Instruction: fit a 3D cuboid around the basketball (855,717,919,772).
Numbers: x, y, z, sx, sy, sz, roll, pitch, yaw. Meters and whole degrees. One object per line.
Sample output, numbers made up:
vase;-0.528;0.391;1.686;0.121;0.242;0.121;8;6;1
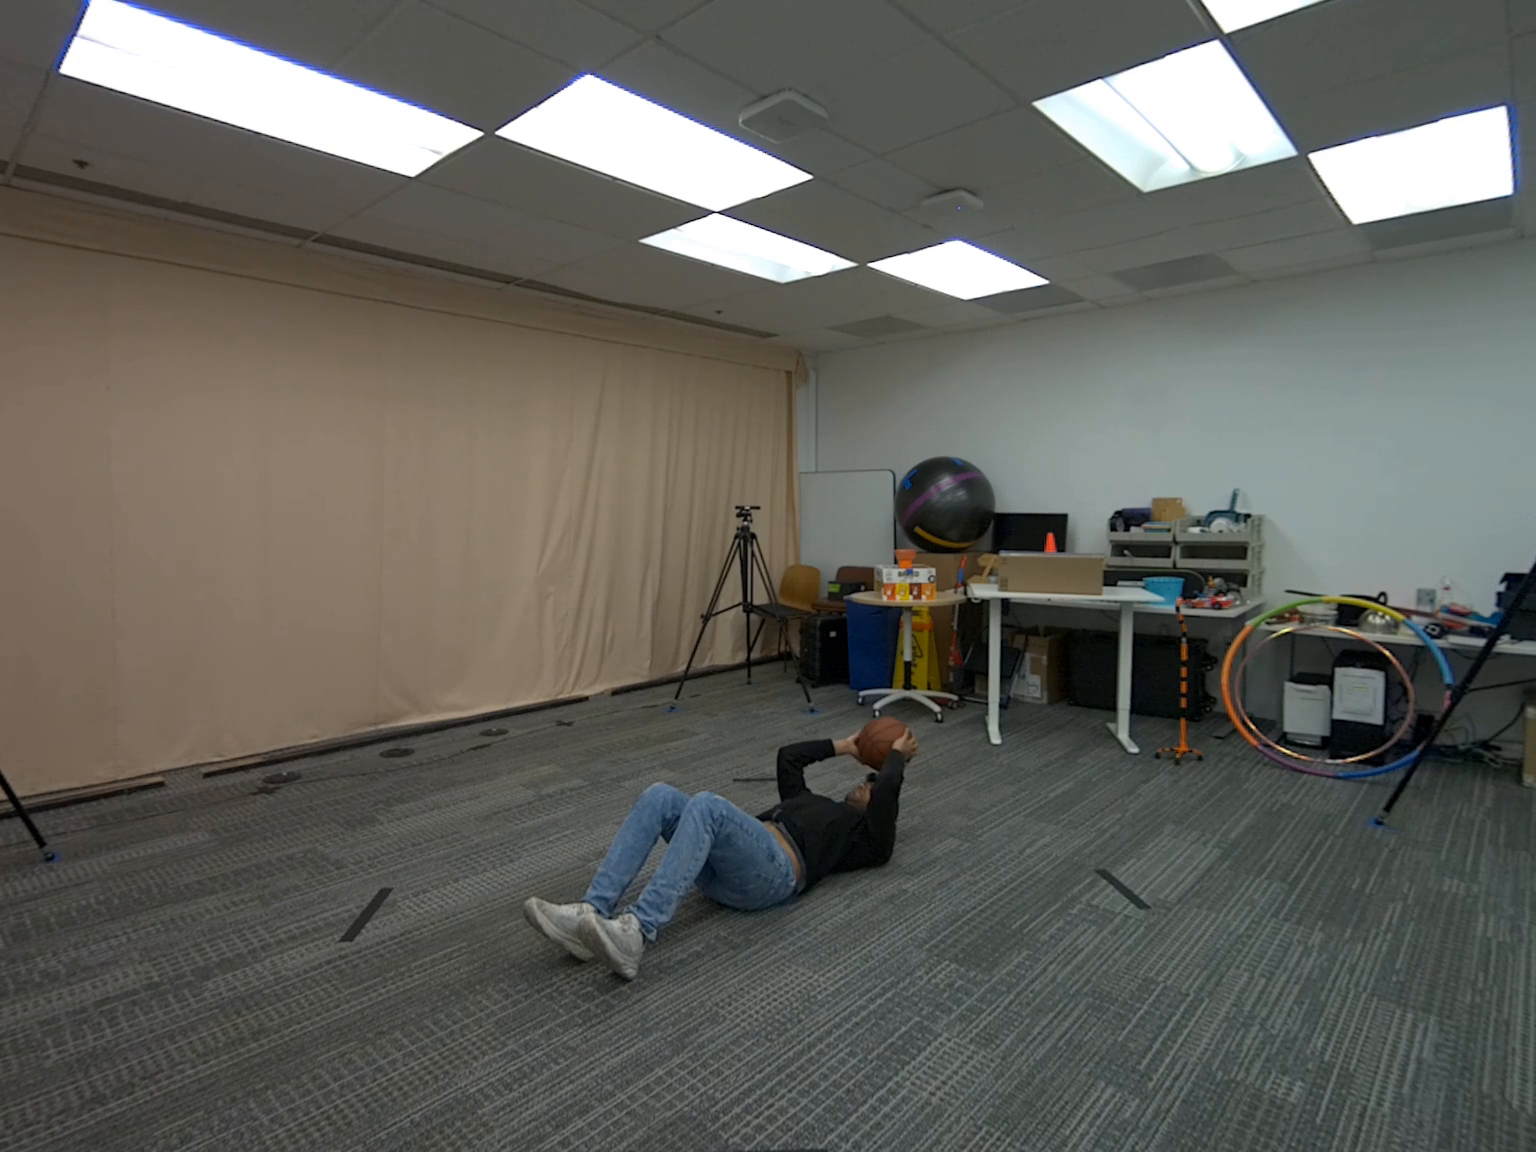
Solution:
basketball;0.498;0.724;3.604;0.236;0.235;0.237;0;4;-2
